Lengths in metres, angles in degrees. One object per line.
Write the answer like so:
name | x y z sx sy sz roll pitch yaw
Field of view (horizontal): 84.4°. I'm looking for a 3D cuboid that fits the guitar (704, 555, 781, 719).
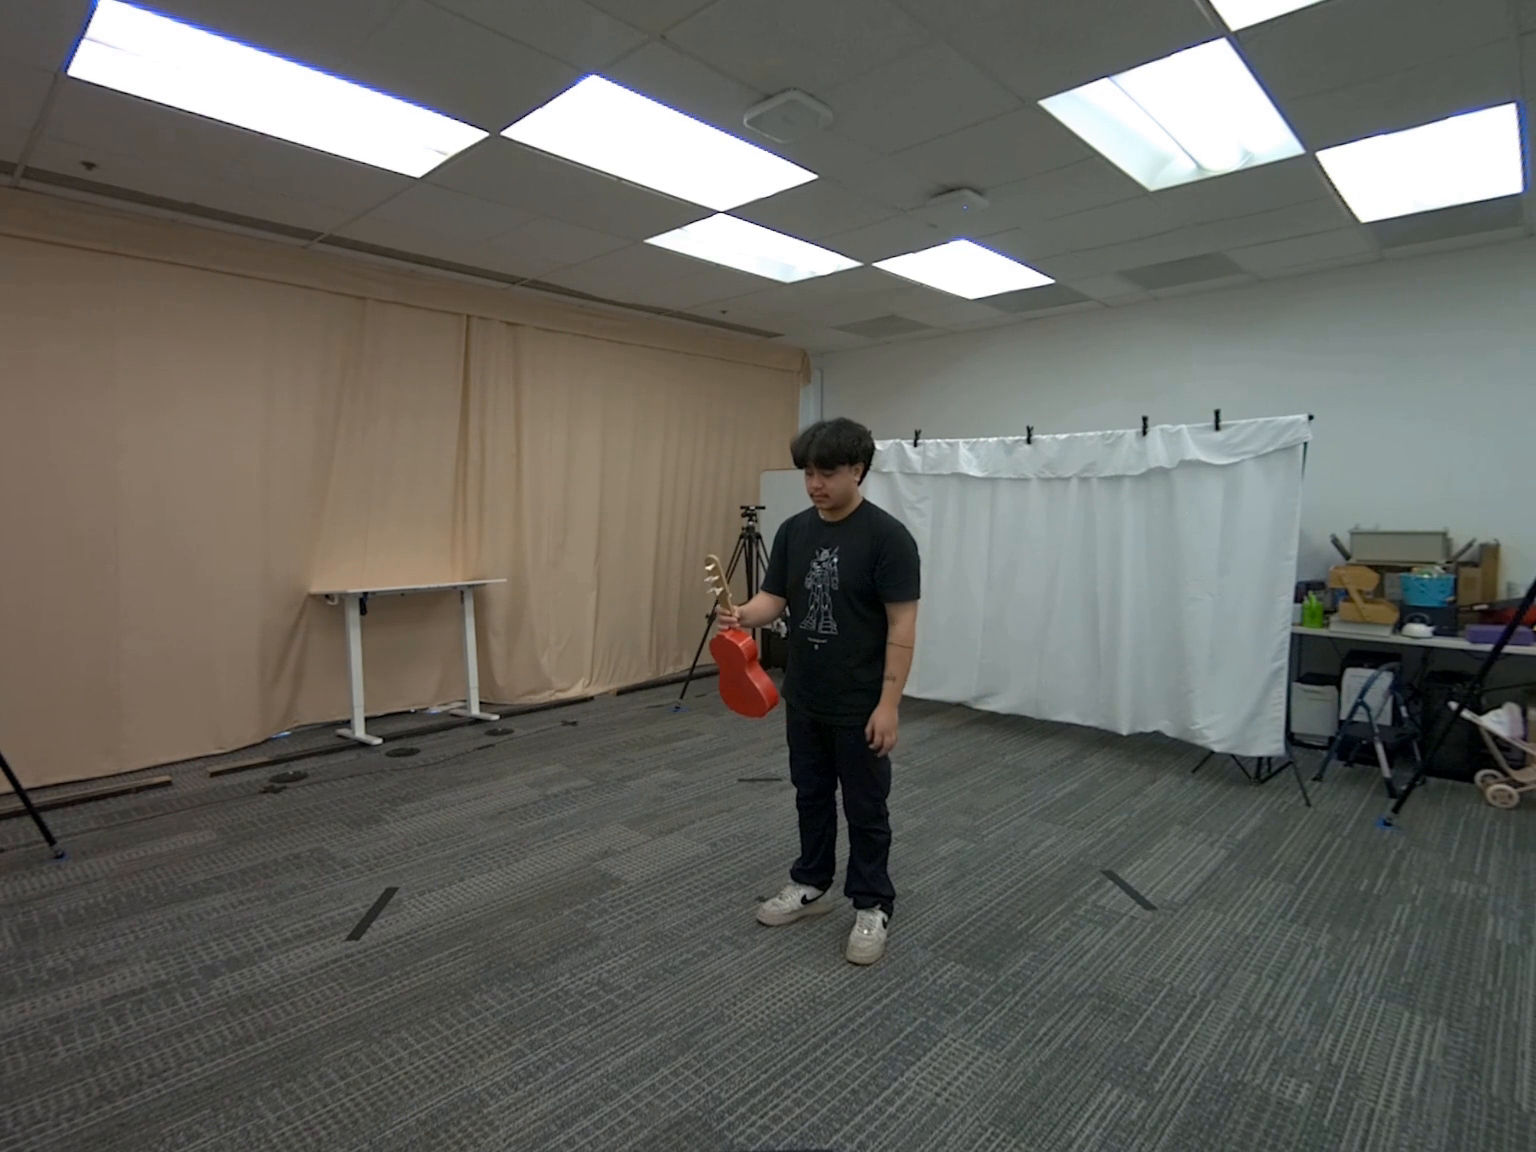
guitar | -0.122 0.185 2.499 0.069 0.493 0.198 -28 11 -39
